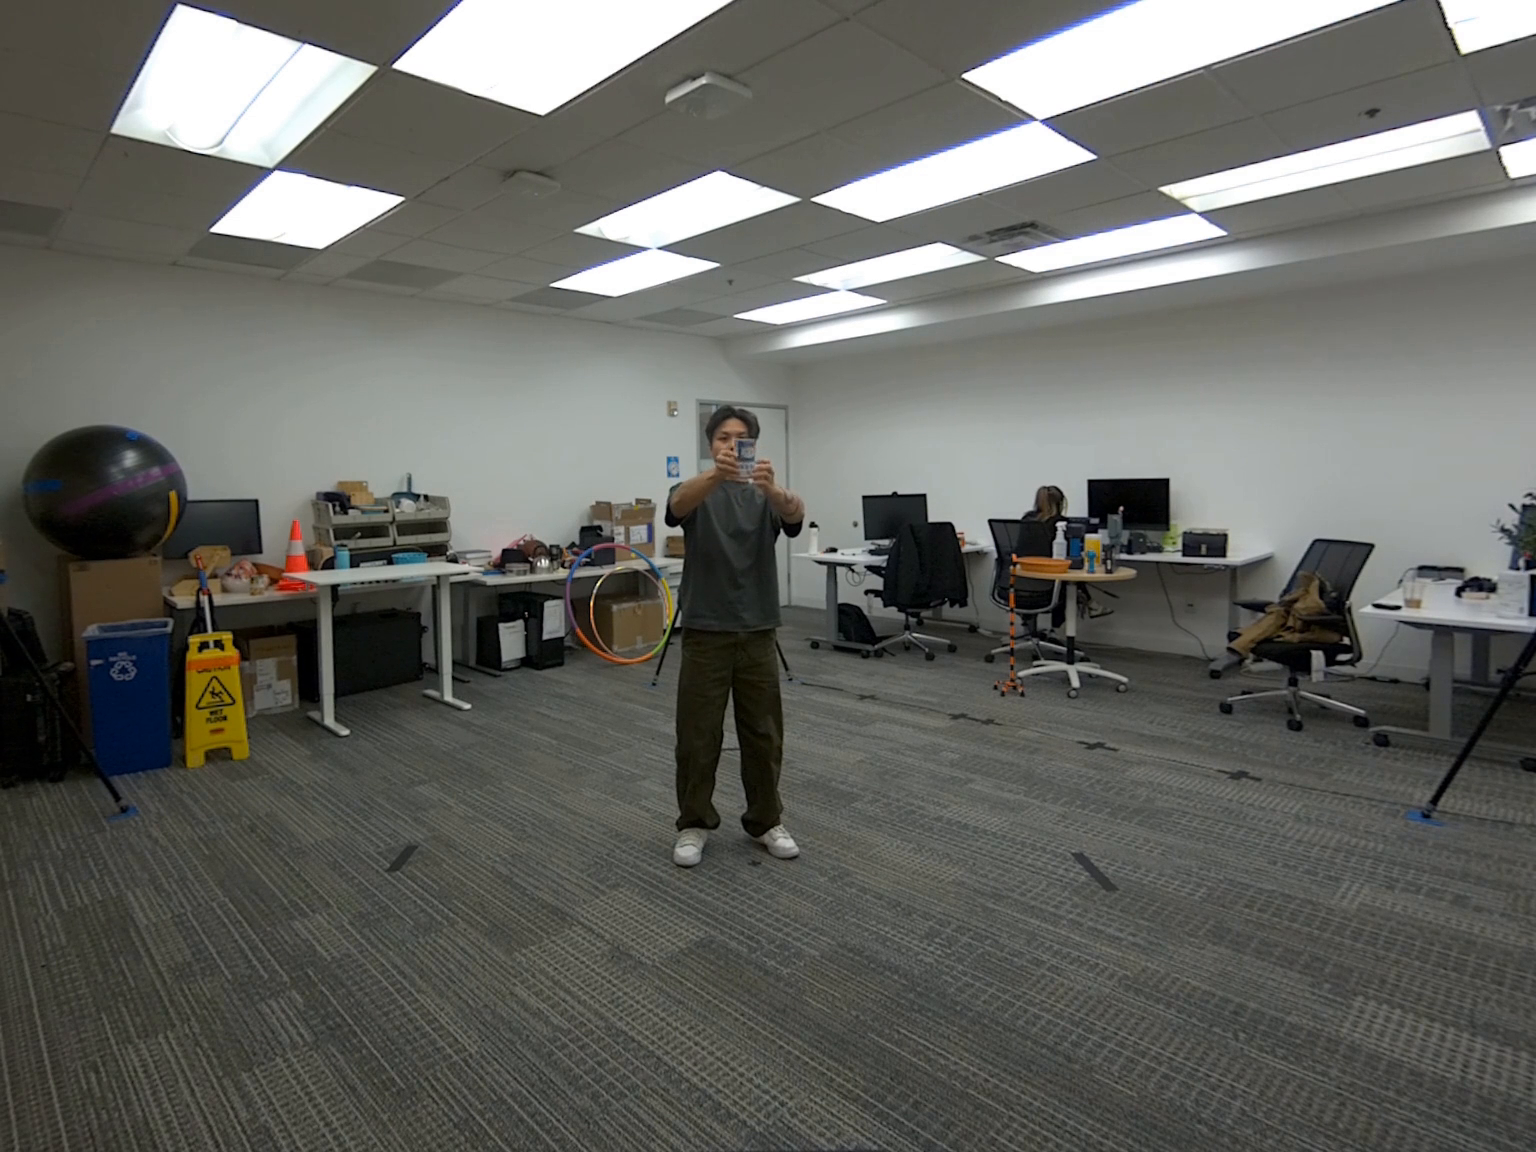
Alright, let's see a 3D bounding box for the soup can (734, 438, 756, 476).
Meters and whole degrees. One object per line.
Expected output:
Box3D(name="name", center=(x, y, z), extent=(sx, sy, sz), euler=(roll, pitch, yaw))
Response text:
Box3D(name="soup can", center=(-0.081, -0.367, 2.662), extent=(0.067, 0.120, 0.068), euler=(1, 11, -2))
